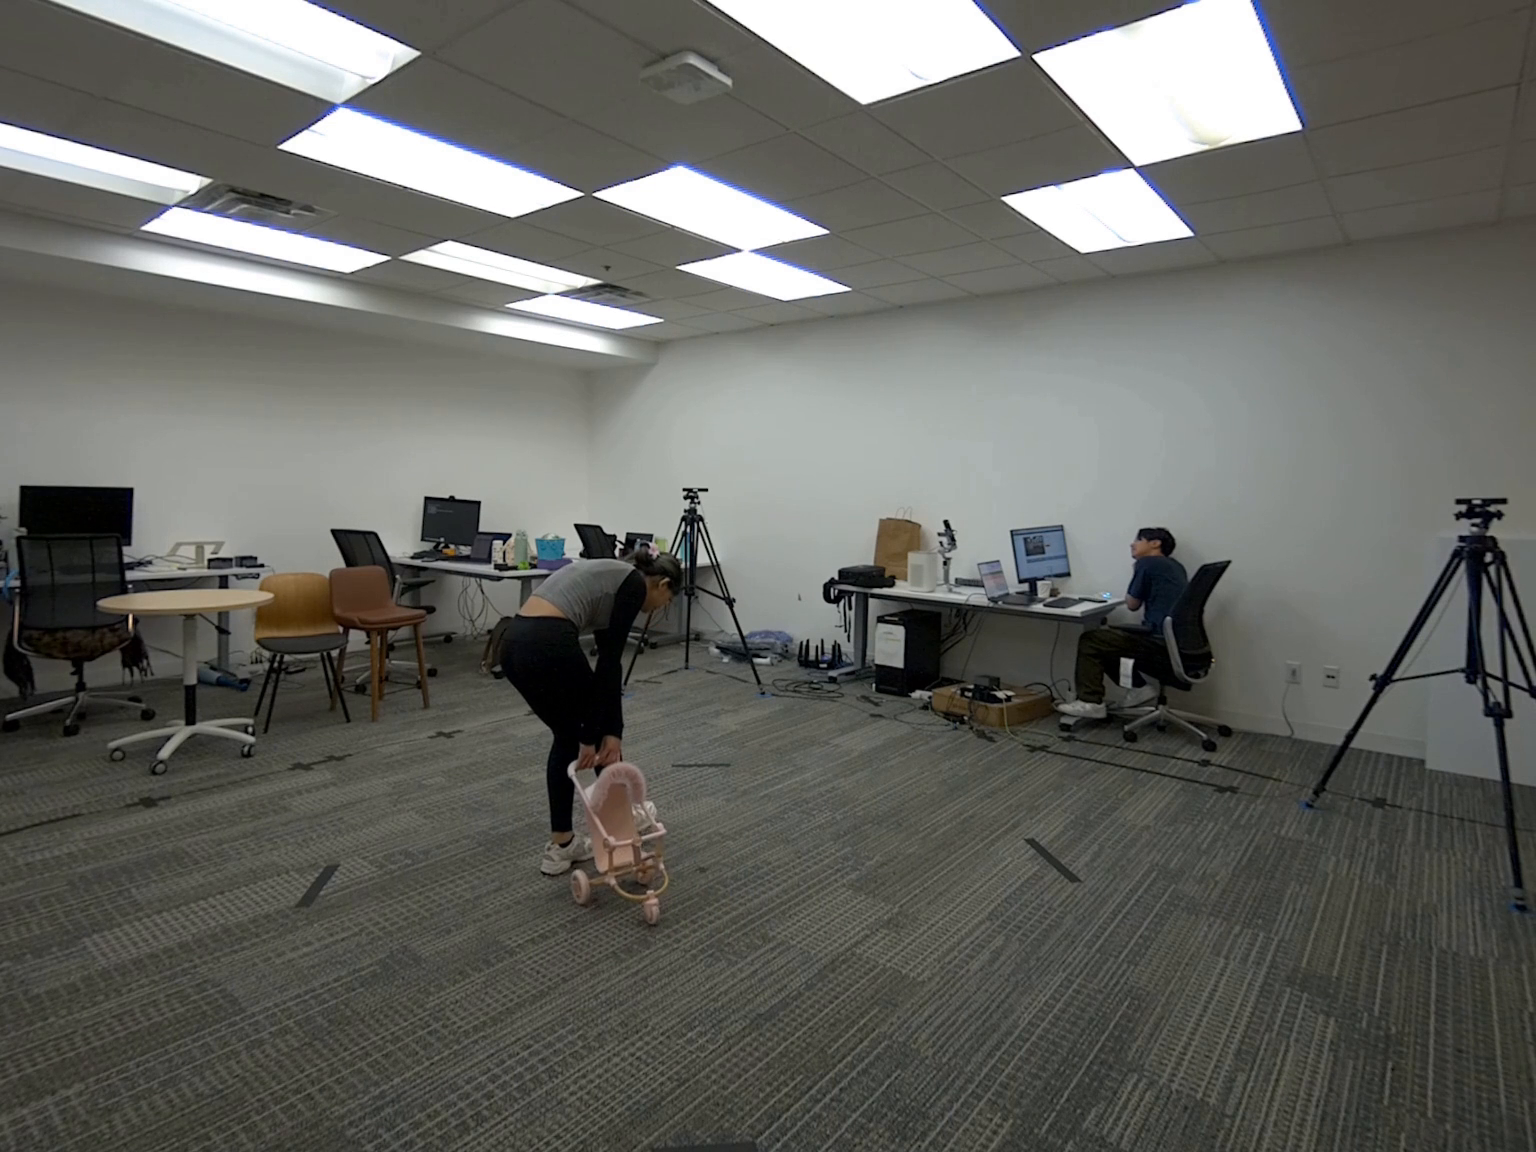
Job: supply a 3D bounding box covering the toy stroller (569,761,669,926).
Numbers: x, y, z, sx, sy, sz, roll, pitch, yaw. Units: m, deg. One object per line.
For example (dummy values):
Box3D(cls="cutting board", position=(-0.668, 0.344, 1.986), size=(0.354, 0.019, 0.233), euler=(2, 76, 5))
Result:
Box3D(cls="toy stroller", position=(-0.497, 0.863, 2.848), size=(0.273, 0.541, 0.347), euler=(-1, -13, -36))
